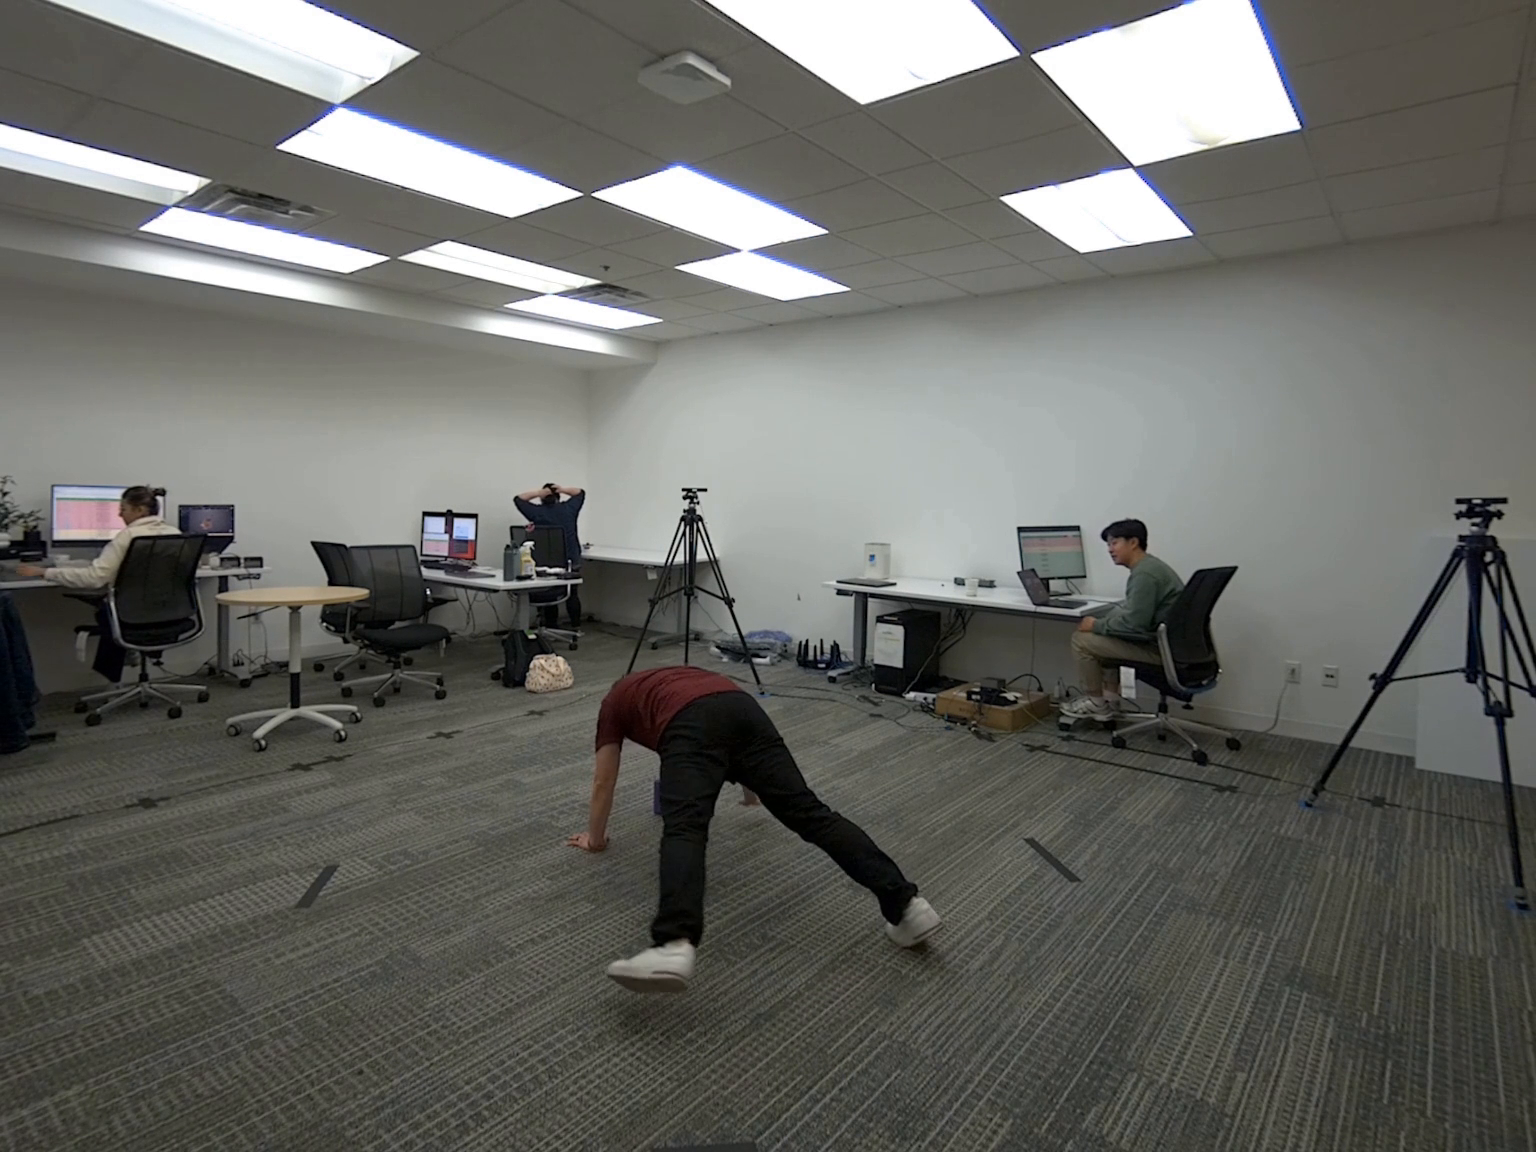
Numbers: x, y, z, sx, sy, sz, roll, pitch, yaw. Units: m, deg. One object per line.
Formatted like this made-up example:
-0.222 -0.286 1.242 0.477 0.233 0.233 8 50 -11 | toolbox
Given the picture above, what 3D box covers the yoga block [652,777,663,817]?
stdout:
-0.380 0.934 3.627 0.233 0.149 0.075 3 1 14 | yoga block
